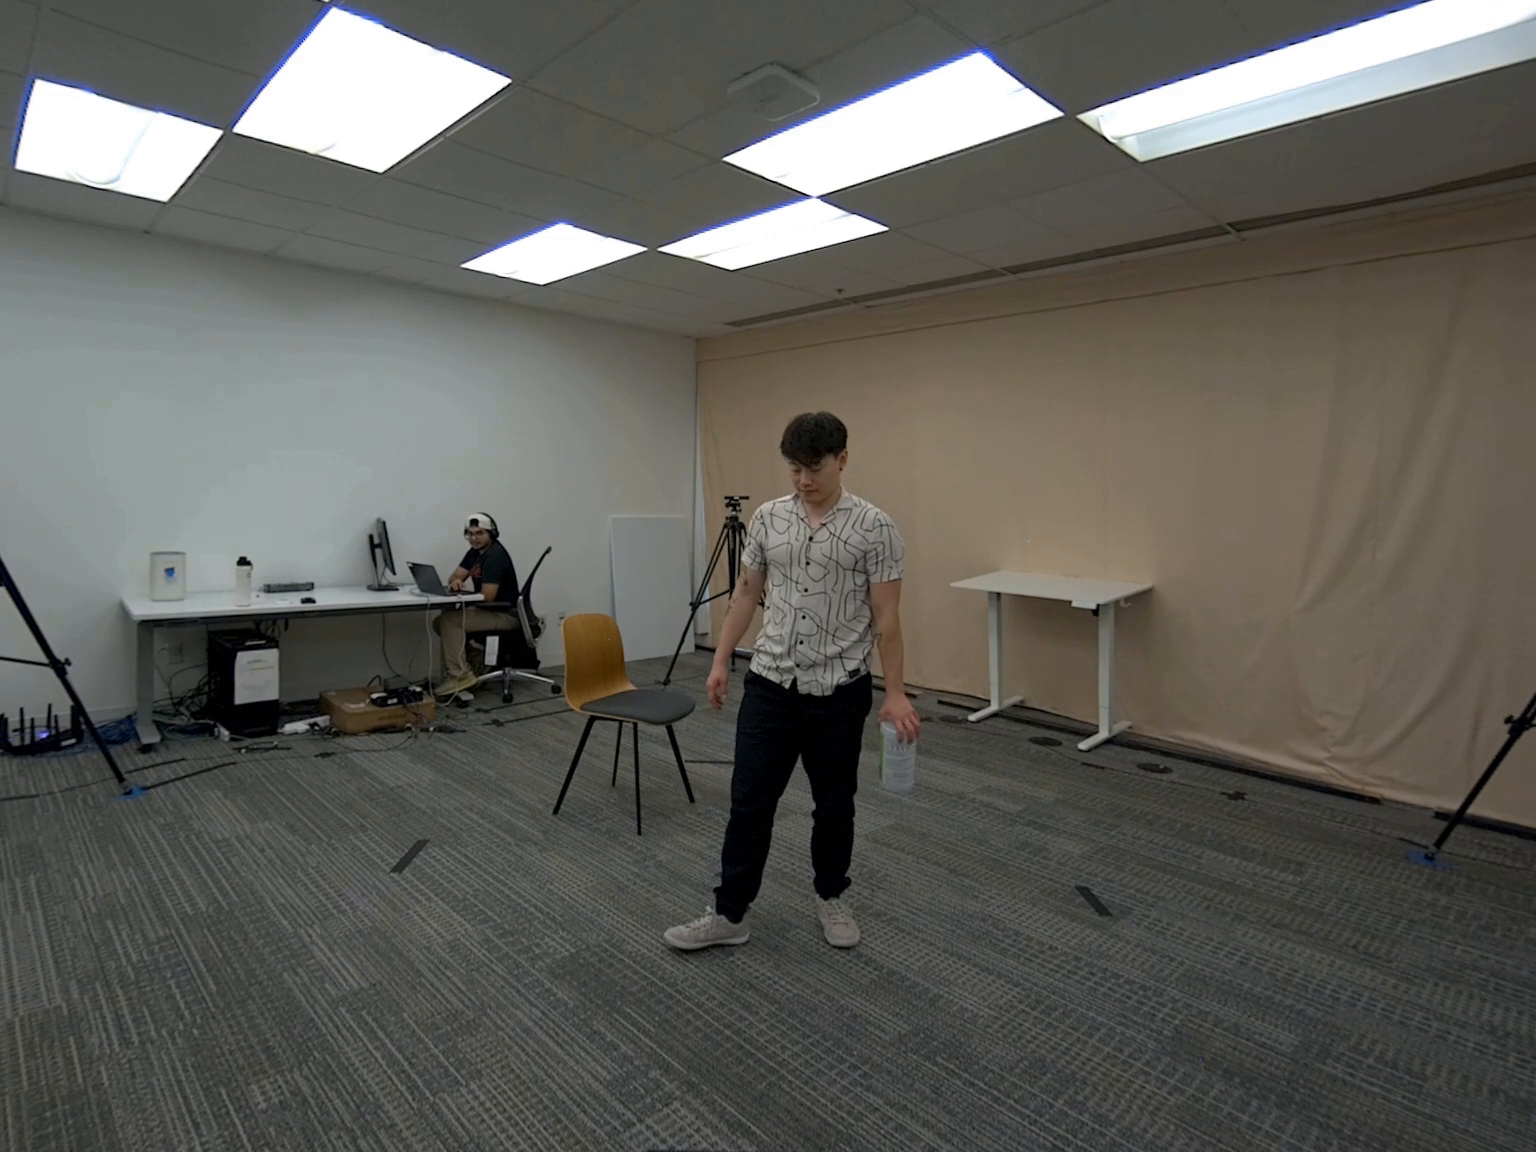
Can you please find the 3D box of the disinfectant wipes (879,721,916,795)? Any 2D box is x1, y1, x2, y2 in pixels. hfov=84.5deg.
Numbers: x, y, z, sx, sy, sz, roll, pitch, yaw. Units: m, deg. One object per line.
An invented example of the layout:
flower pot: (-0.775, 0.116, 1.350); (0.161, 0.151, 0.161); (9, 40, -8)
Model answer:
disinfectant wipes: (0.381, 0.536, 2.544); (0.118, 0.215, 0.119); (-3, 15, -1)
